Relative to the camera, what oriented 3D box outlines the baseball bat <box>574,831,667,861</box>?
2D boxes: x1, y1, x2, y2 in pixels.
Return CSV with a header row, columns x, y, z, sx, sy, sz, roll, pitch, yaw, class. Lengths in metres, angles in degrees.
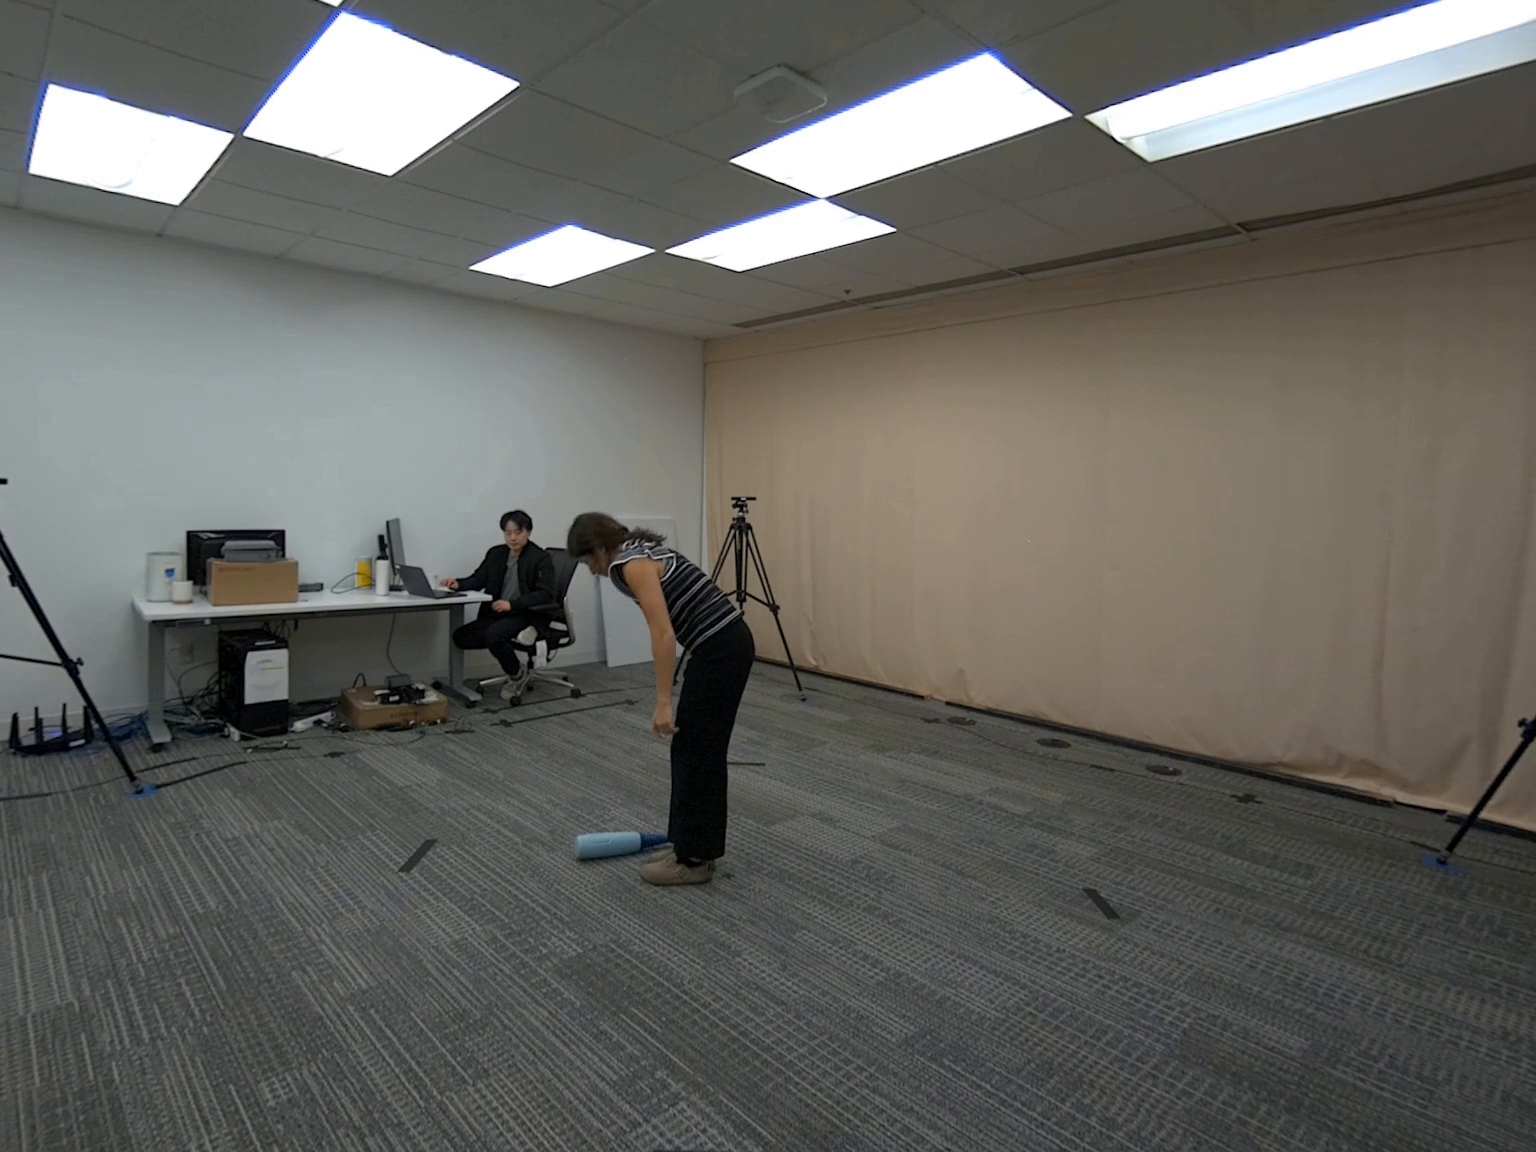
x,y,z,sx,sy,sz,roll,pitch,yaw,class
-0.502,1.046,3.308,0.533,0.089,0.091,3,3,-24,baseball bat
